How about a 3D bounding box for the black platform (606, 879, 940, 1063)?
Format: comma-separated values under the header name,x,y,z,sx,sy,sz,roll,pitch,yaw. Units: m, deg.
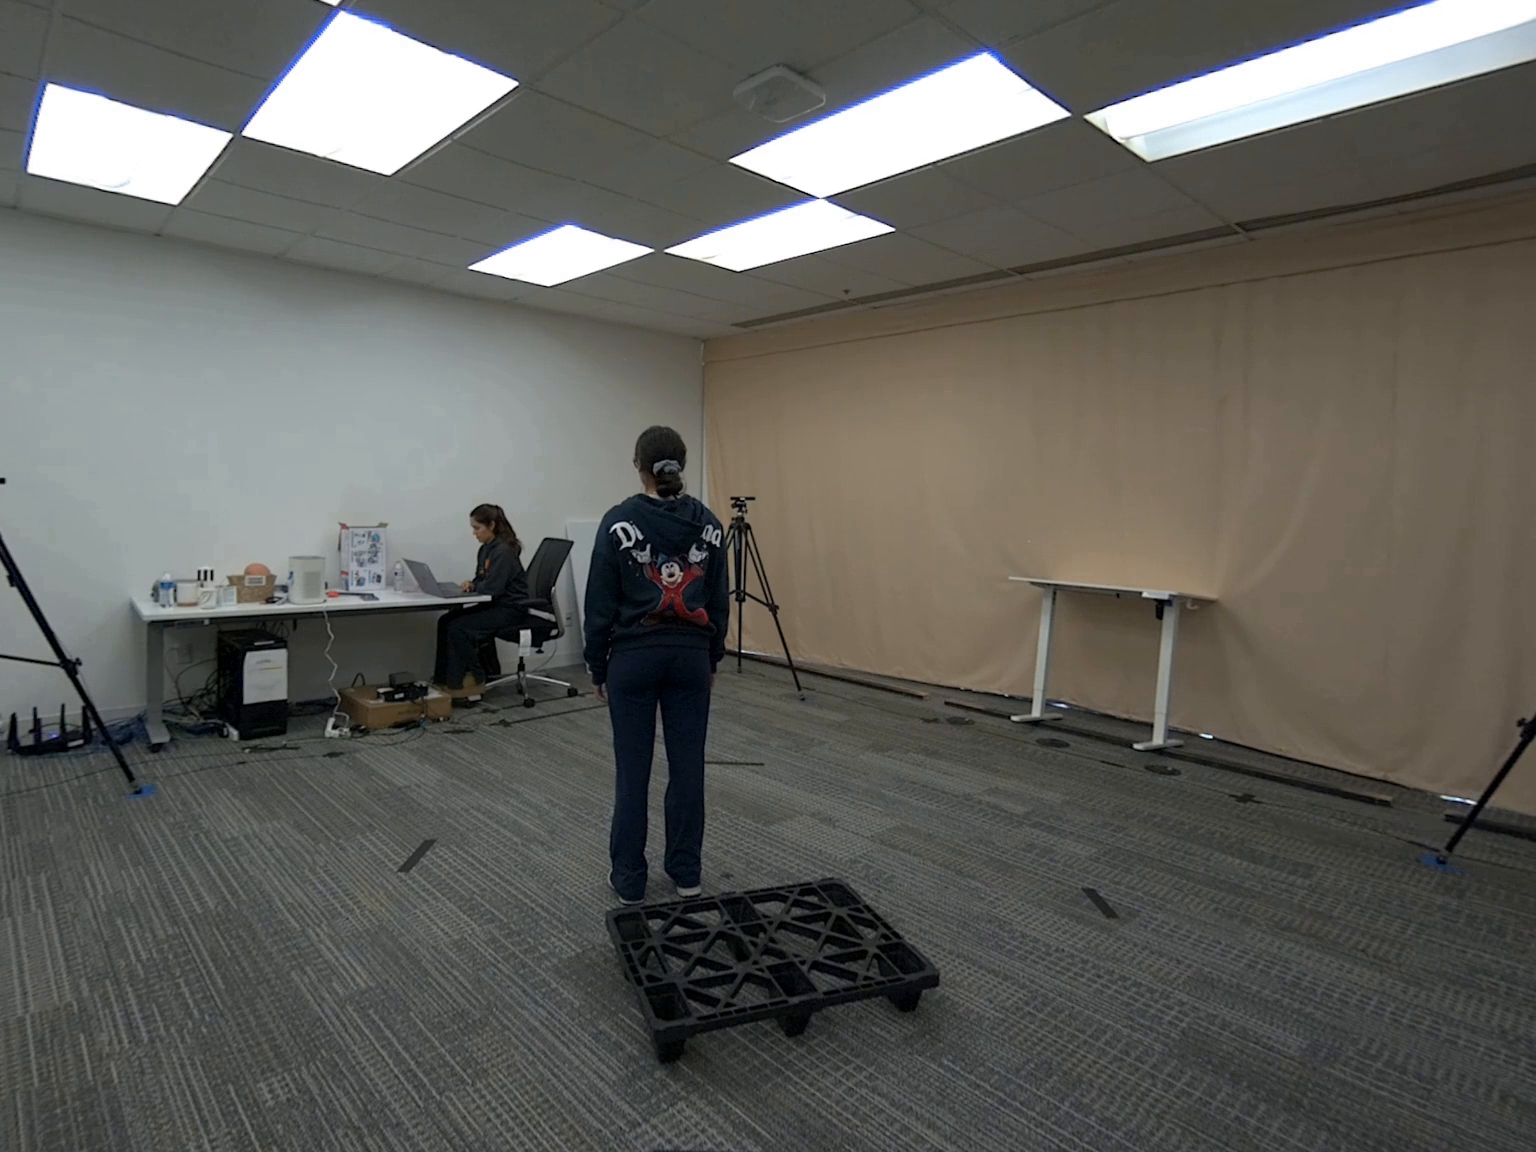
name,x,y,z,sx,sy,sz,roll,pitch,yaw
black platform,-0.019,1.109,2.406,0.793,0.143,0.616,-1,5,-22
